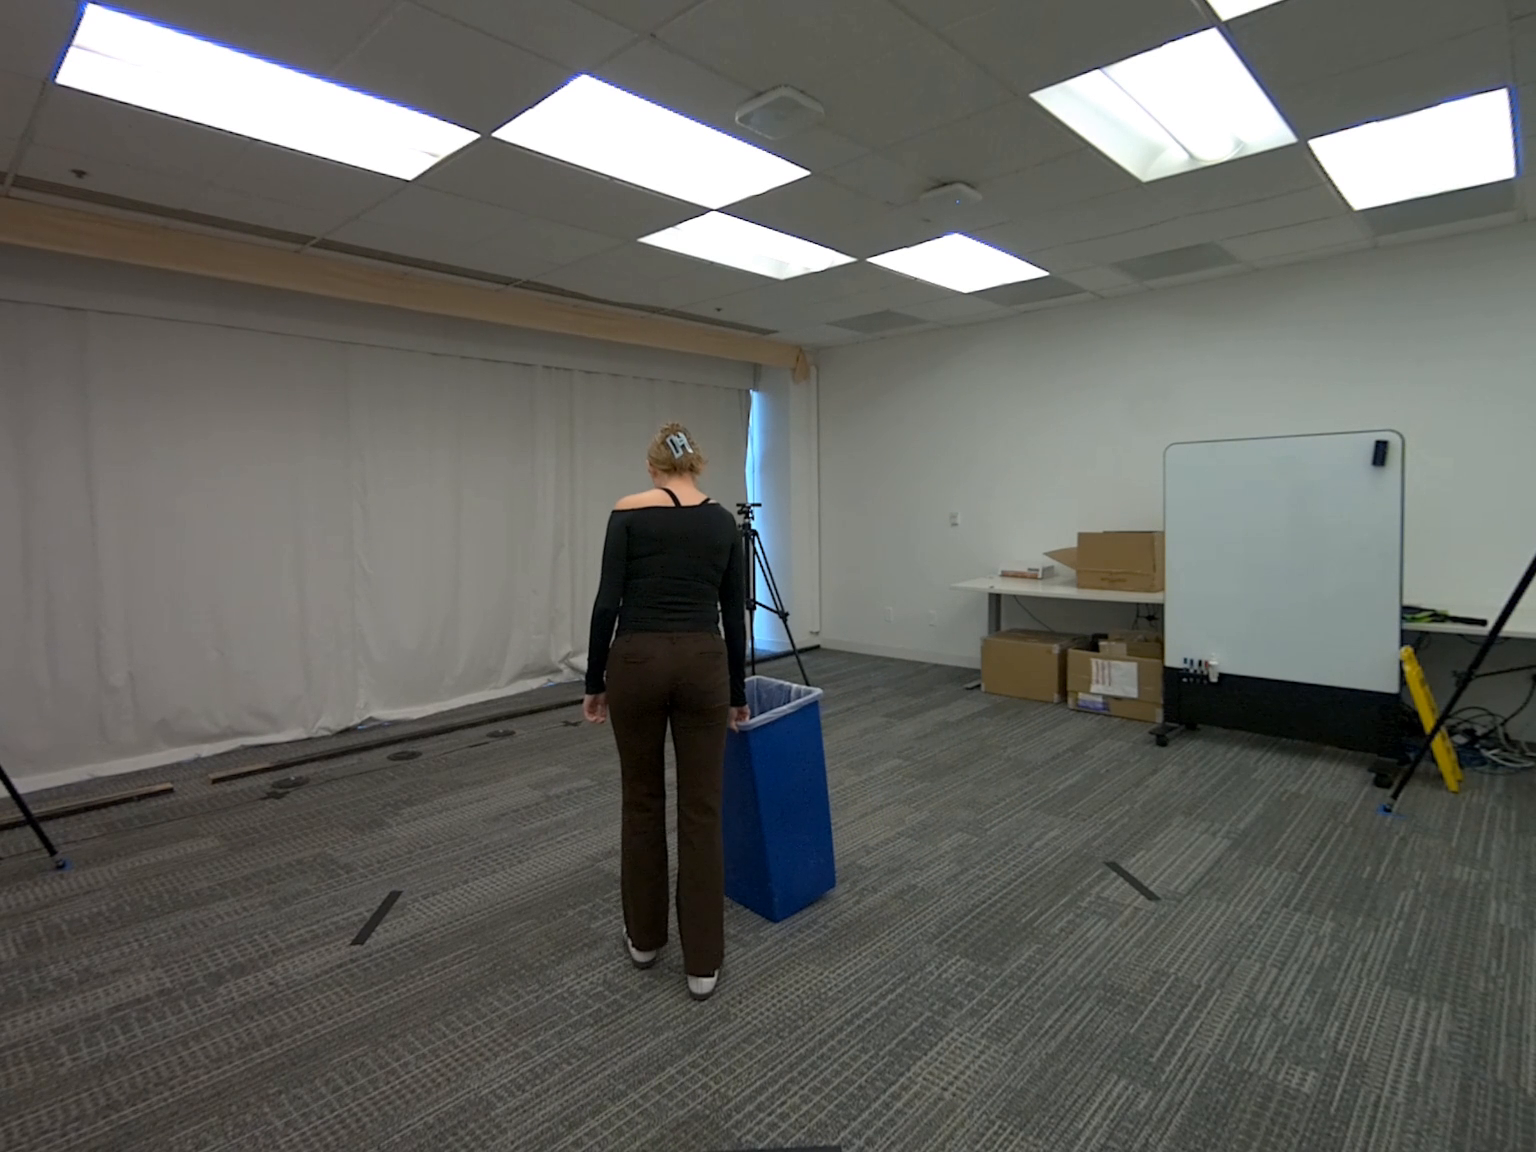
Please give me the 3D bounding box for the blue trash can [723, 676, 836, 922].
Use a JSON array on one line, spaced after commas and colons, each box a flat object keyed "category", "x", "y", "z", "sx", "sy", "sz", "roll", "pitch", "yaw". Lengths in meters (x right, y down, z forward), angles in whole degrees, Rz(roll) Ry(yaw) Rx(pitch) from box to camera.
[{"category": "blue trash can", "x": -0.009, "y": 0.766, "z": 2.936, "sx": 0.364, "sy": 0.709, "sz": 0.390, "roll": -13, "pitch": 9, "yaw": -37}]
